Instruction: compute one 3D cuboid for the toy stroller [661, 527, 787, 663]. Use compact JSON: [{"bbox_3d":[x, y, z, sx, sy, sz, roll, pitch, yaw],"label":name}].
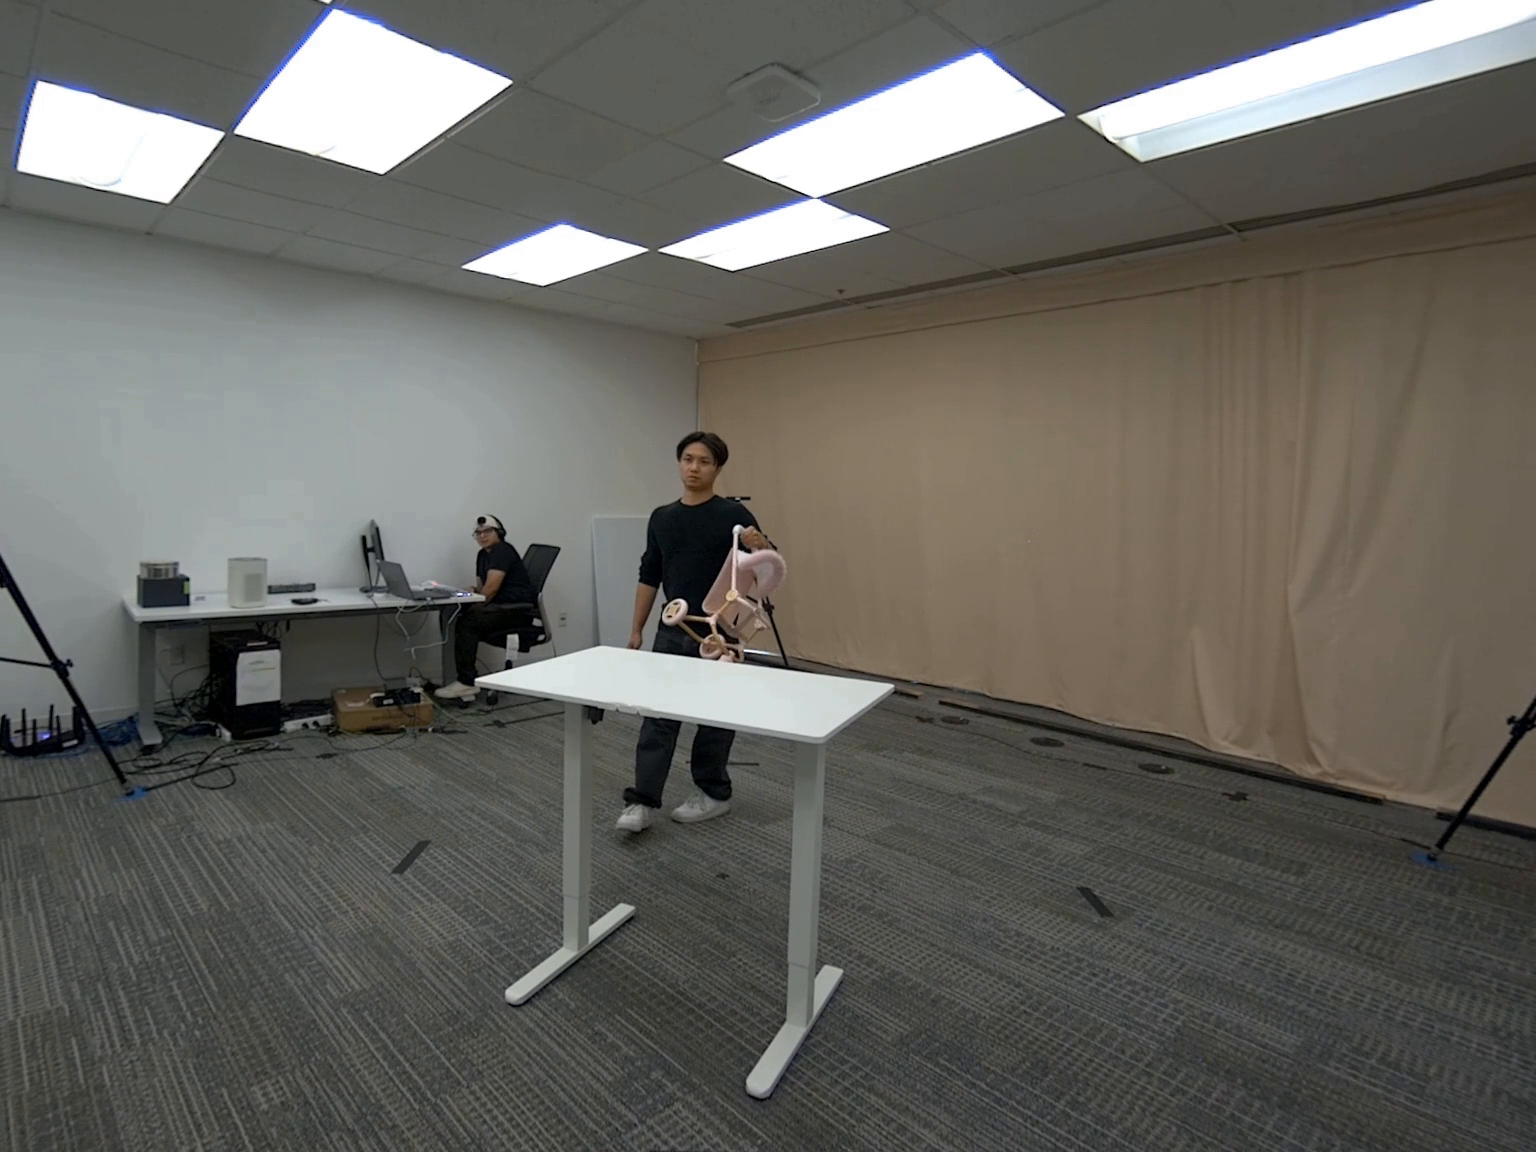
[{"bbox_3d":[-0.130,0.101,3.073,0.351,0.536,0.273,16,-23,51],"label":"toy stroller"}]
